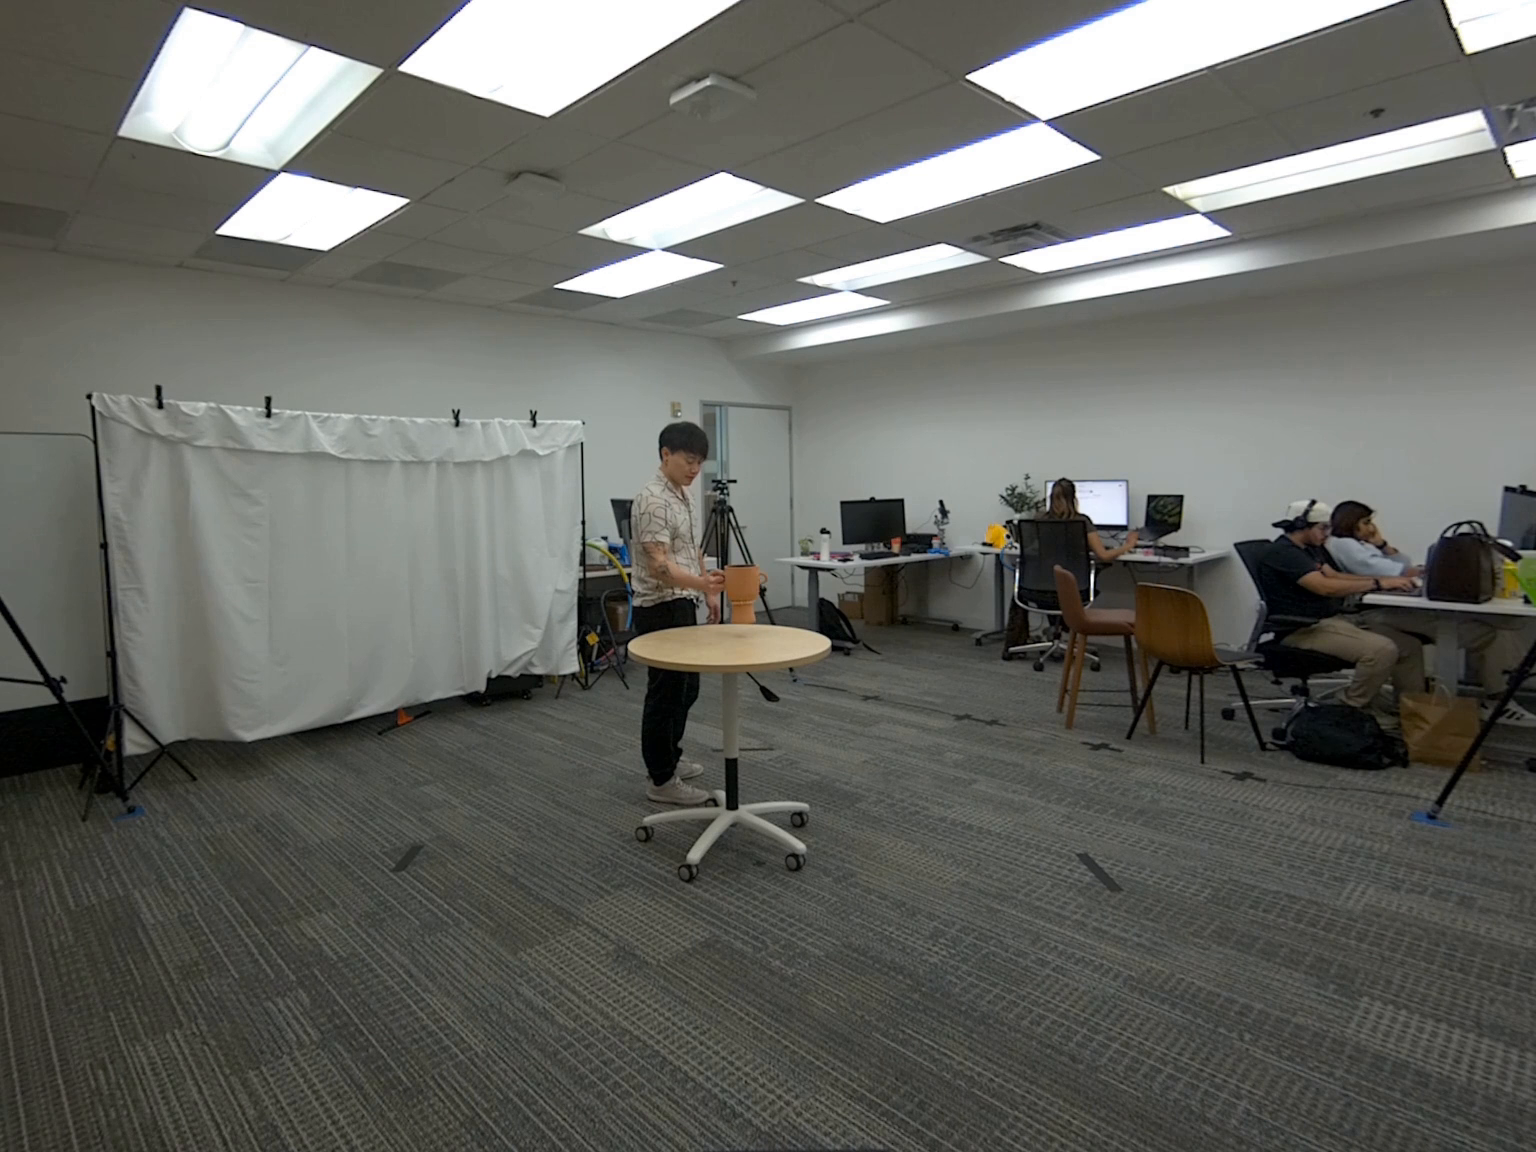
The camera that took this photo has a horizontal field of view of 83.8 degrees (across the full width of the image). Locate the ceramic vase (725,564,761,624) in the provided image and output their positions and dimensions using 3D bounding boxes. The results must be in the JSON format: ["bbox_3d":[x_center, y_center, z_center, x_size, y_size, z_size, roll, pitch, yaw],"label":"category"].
[{"bbox_3d":[-0.094,0.068,3.329,0.163,0.219,0.131,2,7,43],"label":"ceramic vase"}]
